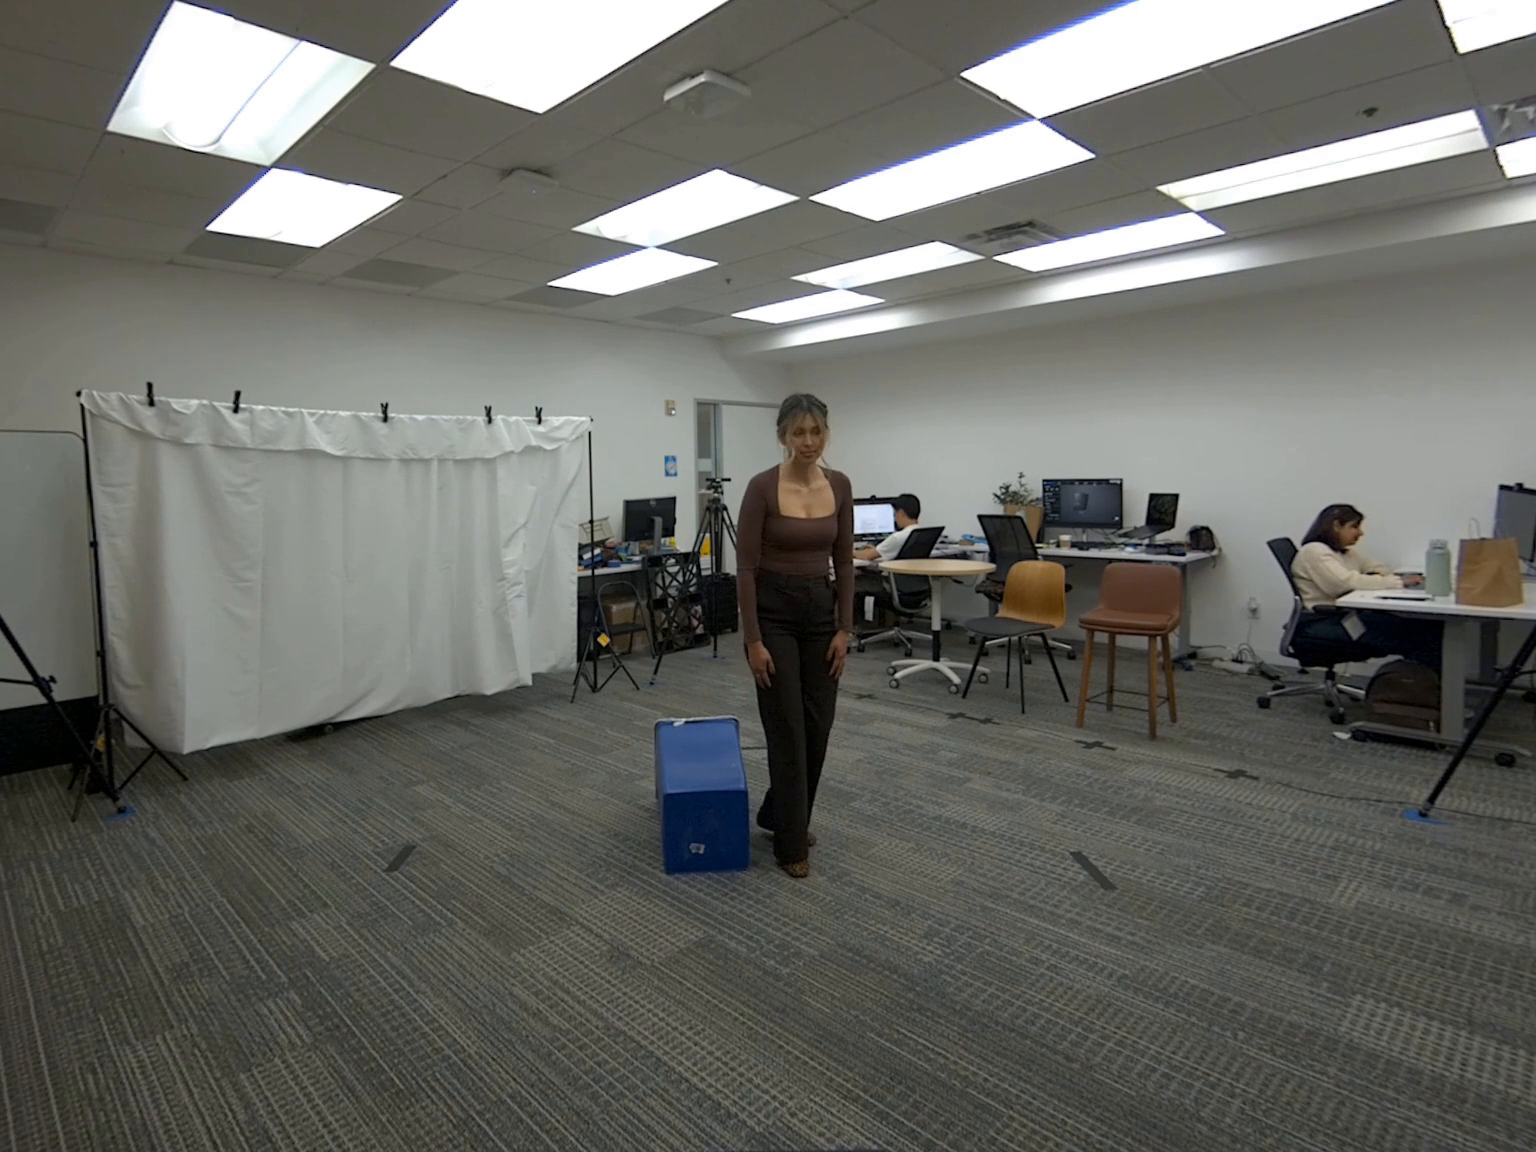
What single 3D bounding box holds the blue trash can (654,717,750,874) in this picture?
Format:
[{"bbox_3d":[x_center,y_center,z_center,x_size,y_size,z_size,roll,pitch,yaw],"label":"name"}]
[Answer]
[{"bbox_3d":[-0.256,0.851,3.373,0.371,0.375,0.723,-1,8,-8],"label":"blue trash can"}]
